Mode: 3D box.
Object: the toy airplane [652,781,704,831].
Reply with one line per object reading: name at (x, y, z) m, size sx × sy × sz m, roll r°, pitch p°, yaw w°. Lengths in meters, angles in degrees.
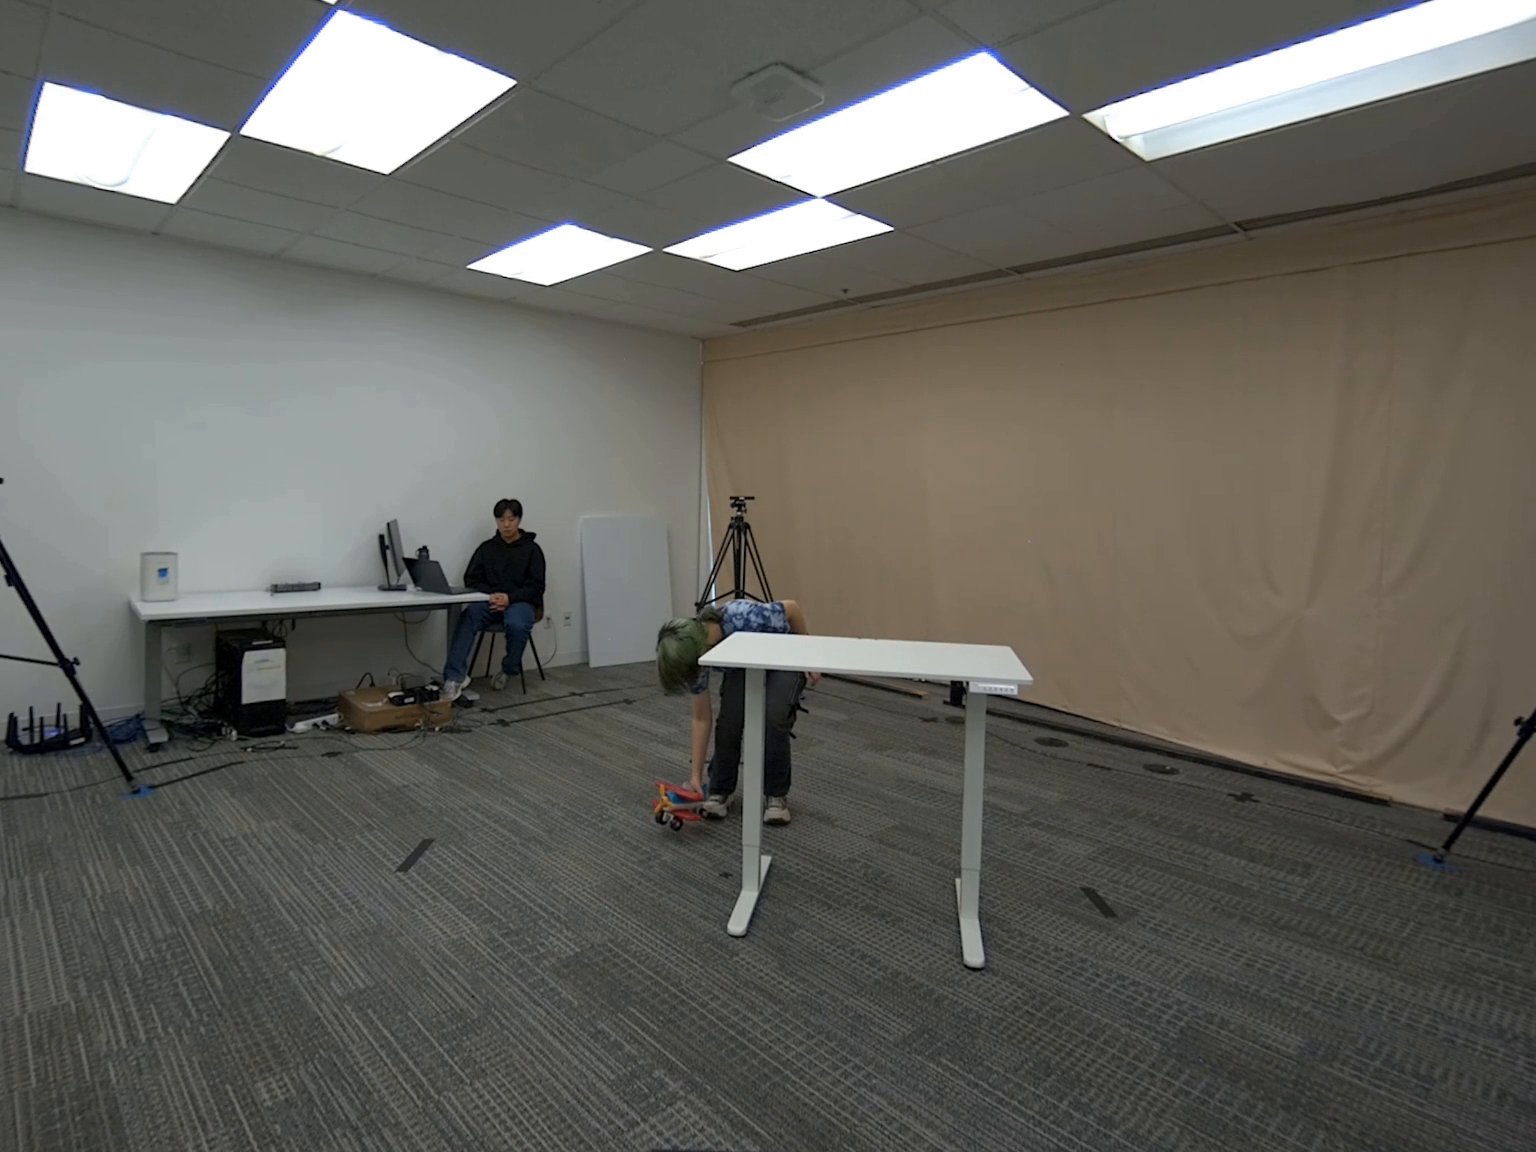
toy airplane at (-0.376, 0.936, 3.483) m, size 0.254 × 0.155 × 0.258 m, roll 3°, pitch 9°, yaw 13°
